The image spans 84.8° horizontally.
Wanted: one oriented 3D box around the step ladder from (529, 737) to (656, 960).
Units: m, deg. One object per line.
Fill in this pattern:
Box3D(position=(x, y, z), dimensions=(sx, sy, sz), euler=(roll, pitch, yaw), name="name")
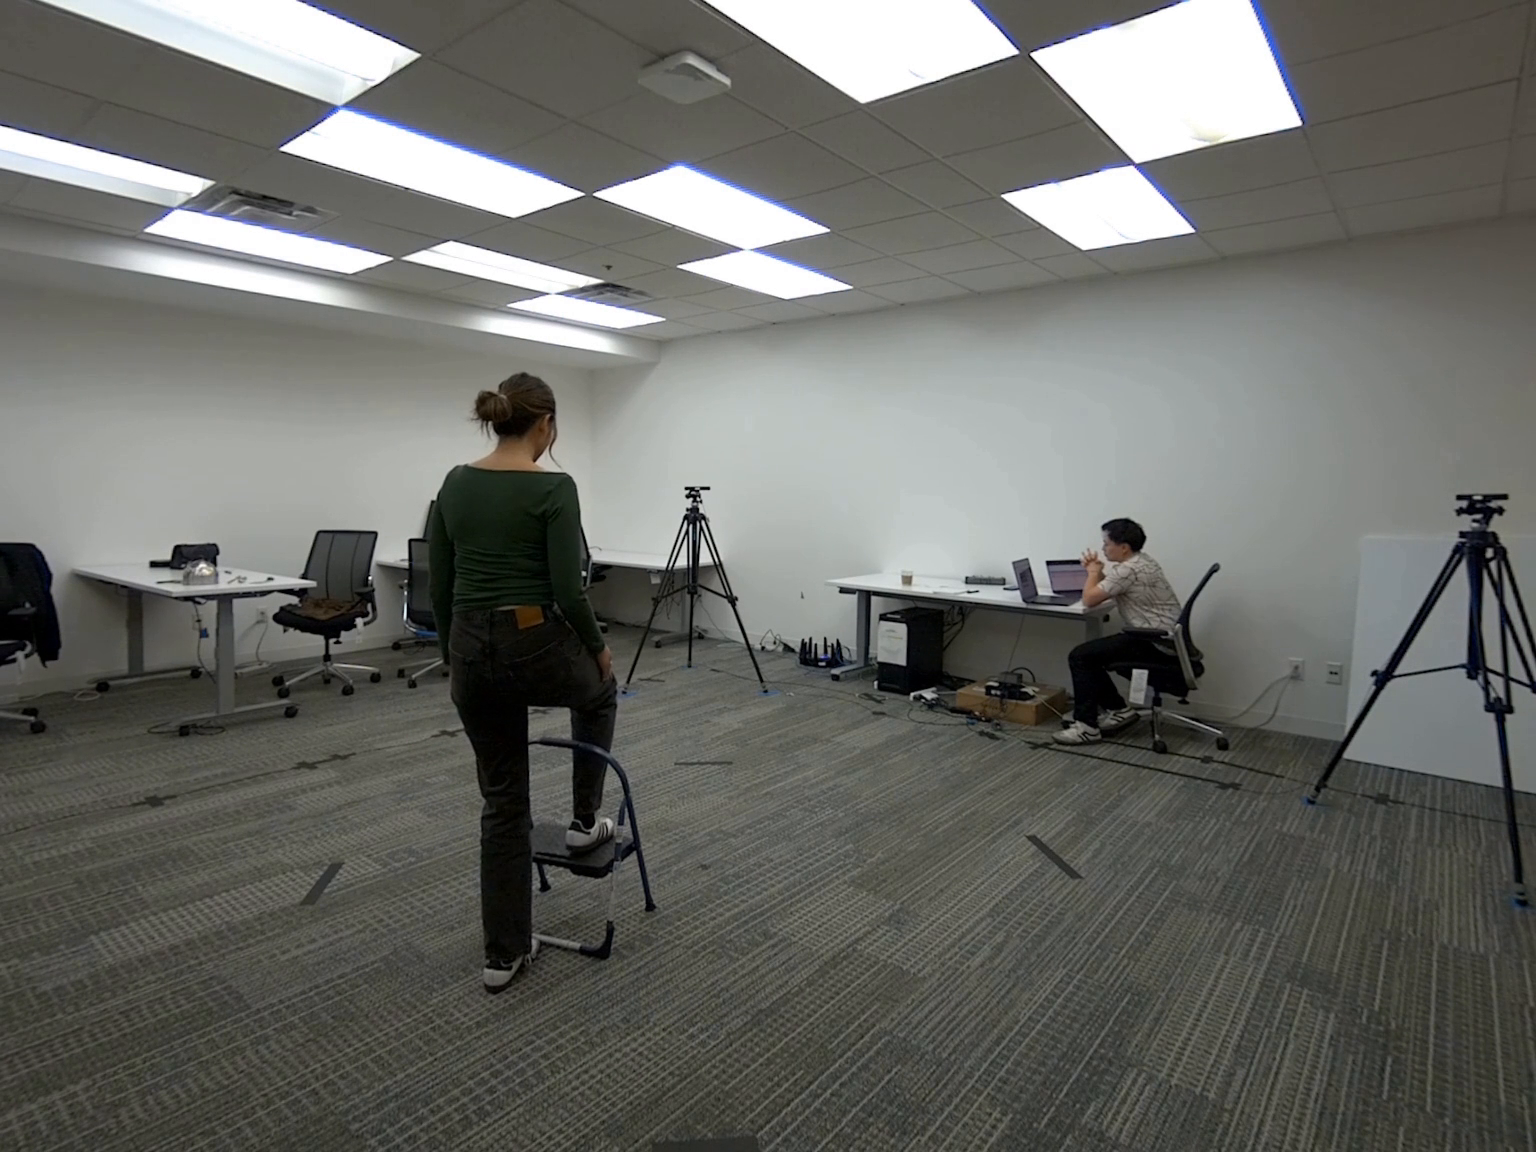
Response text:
Box3D(position=(-0.628, 0.799, 2.702), dimensions=(0.439, 0.604, 0.344), euler=(2, 4, 18), name="step ladder")
